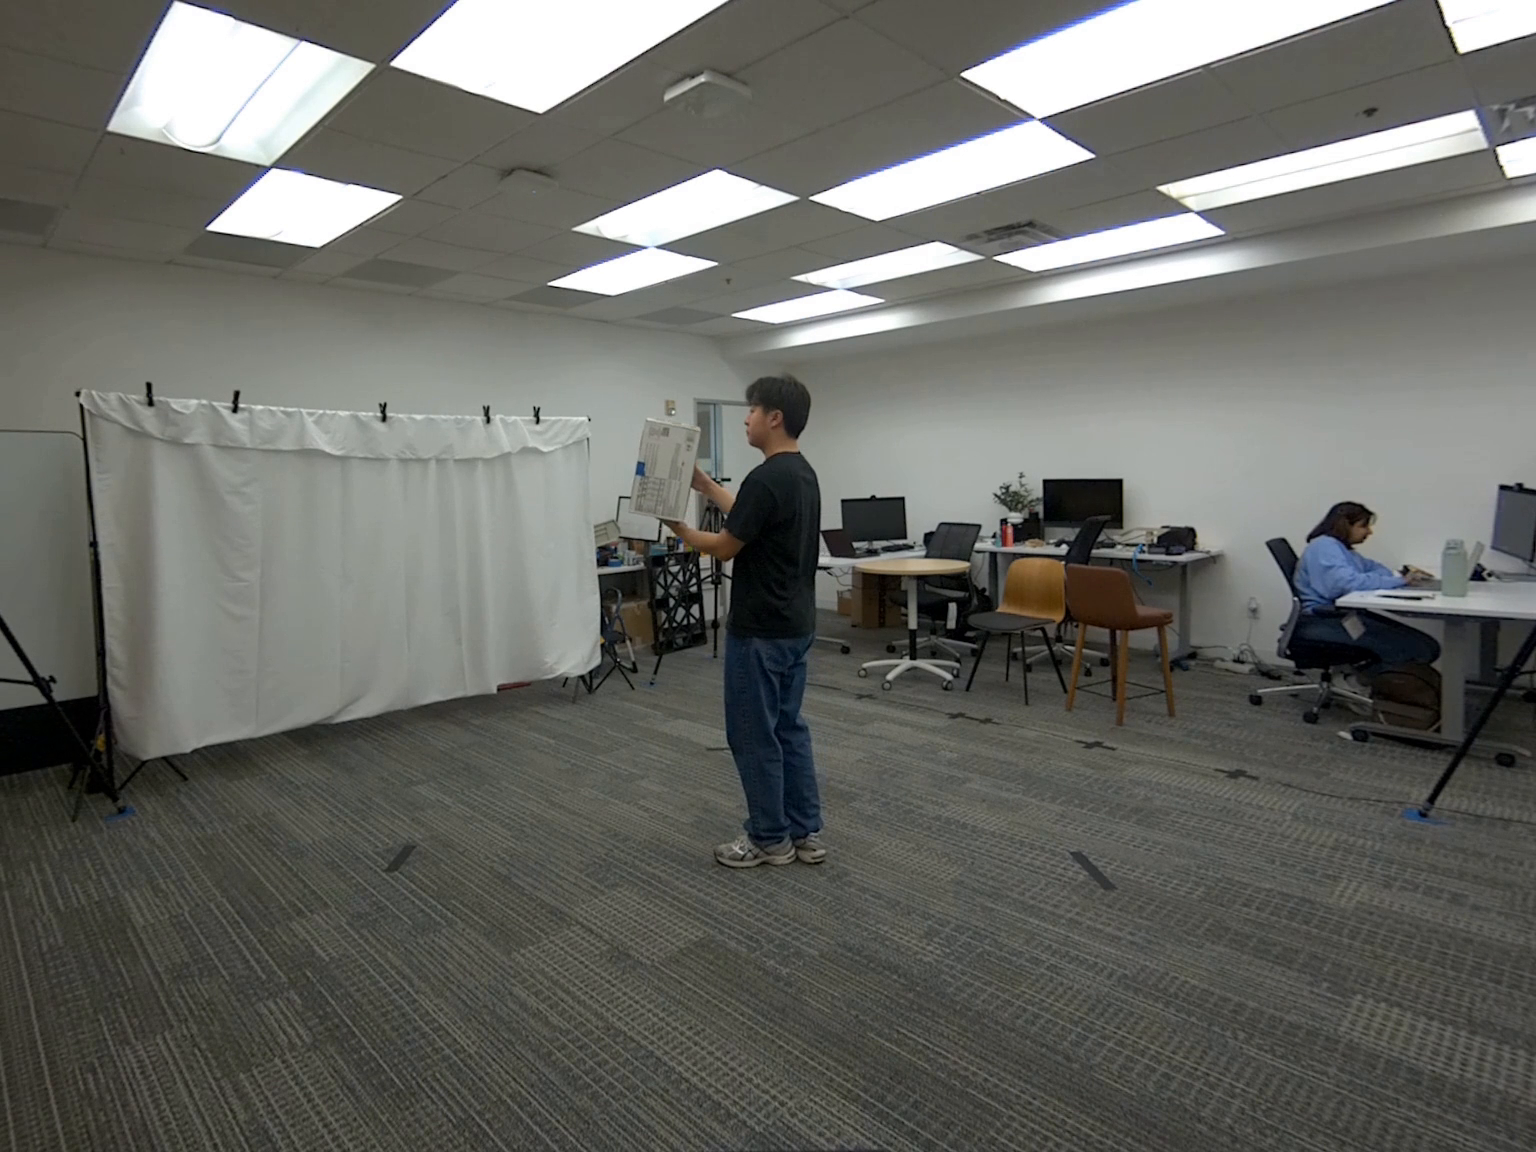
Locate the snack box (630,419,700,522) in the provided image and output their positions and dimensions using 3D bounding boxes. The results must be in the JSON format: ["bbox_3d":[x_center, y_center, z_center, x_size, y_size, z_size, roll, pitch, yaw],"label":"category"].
[{"bbox_3d":[-0.391,-0.419,3.240,0.204,0.338,0.411,10,10,-7],"label":"snack box"}]
